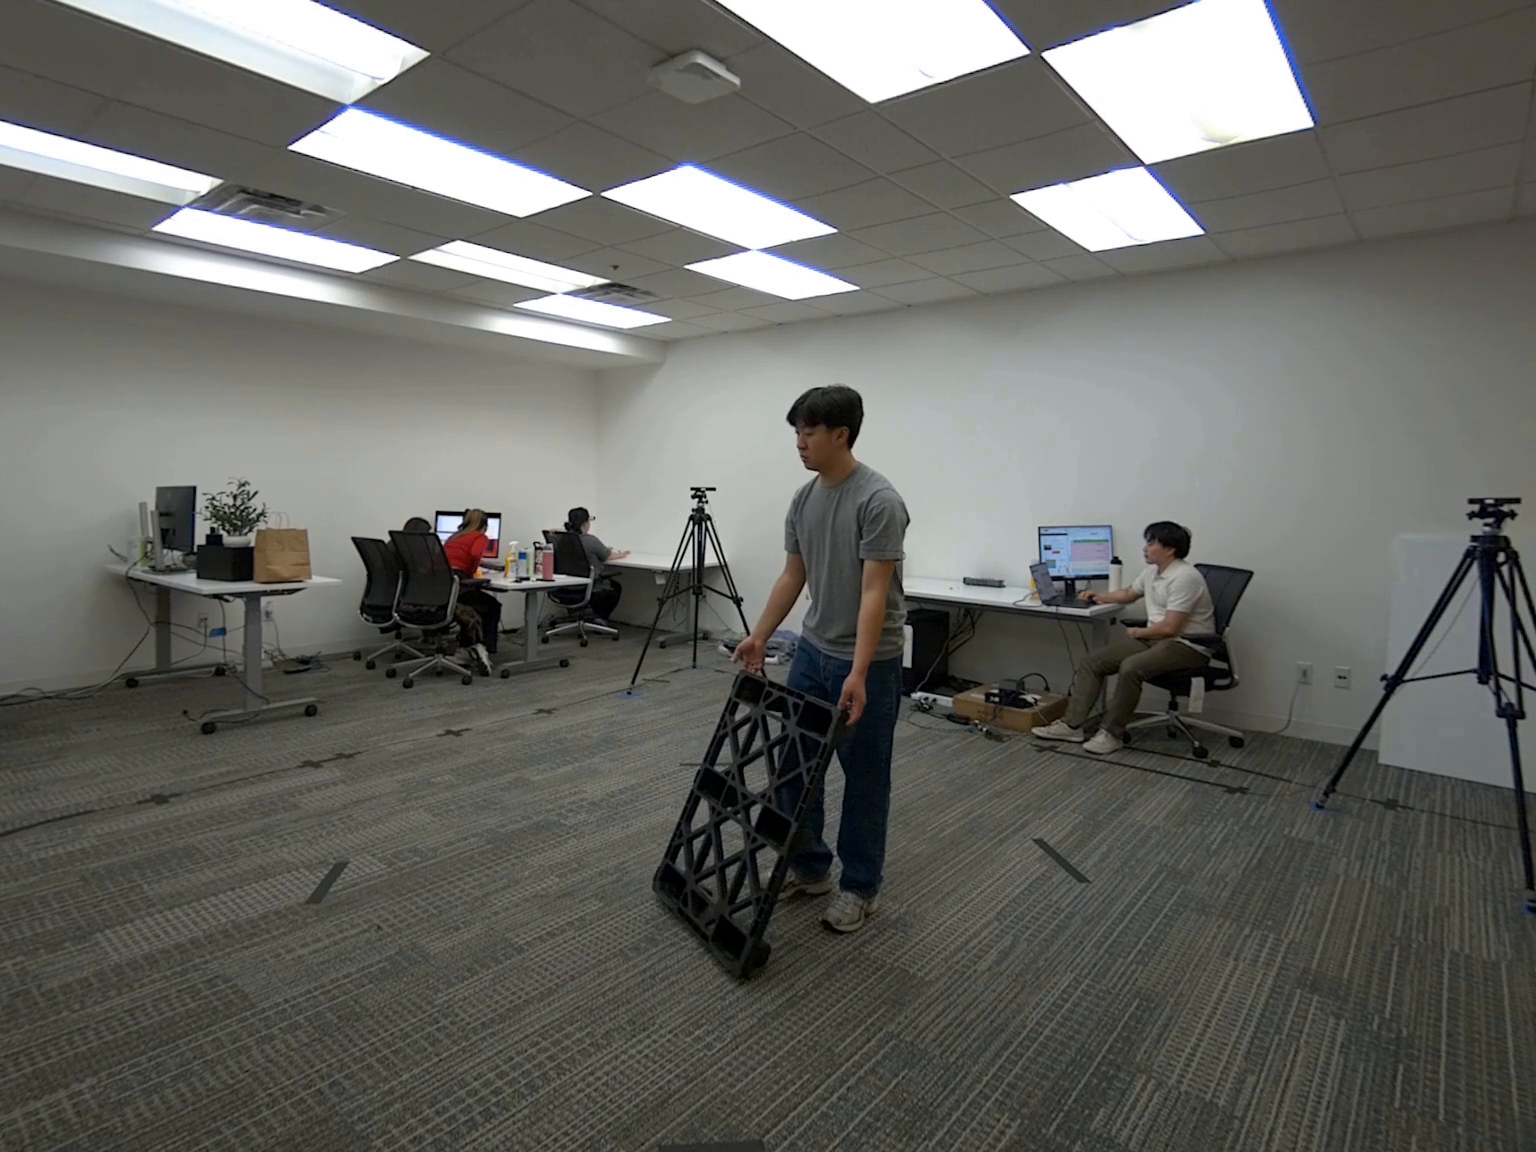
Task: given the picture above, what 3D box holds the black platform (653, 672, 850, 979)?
[{"bbox_3d":[-0.066,0.749,2.716,0.138,0.809,0.624,27,-9,-30],"label":"black platform"}]
